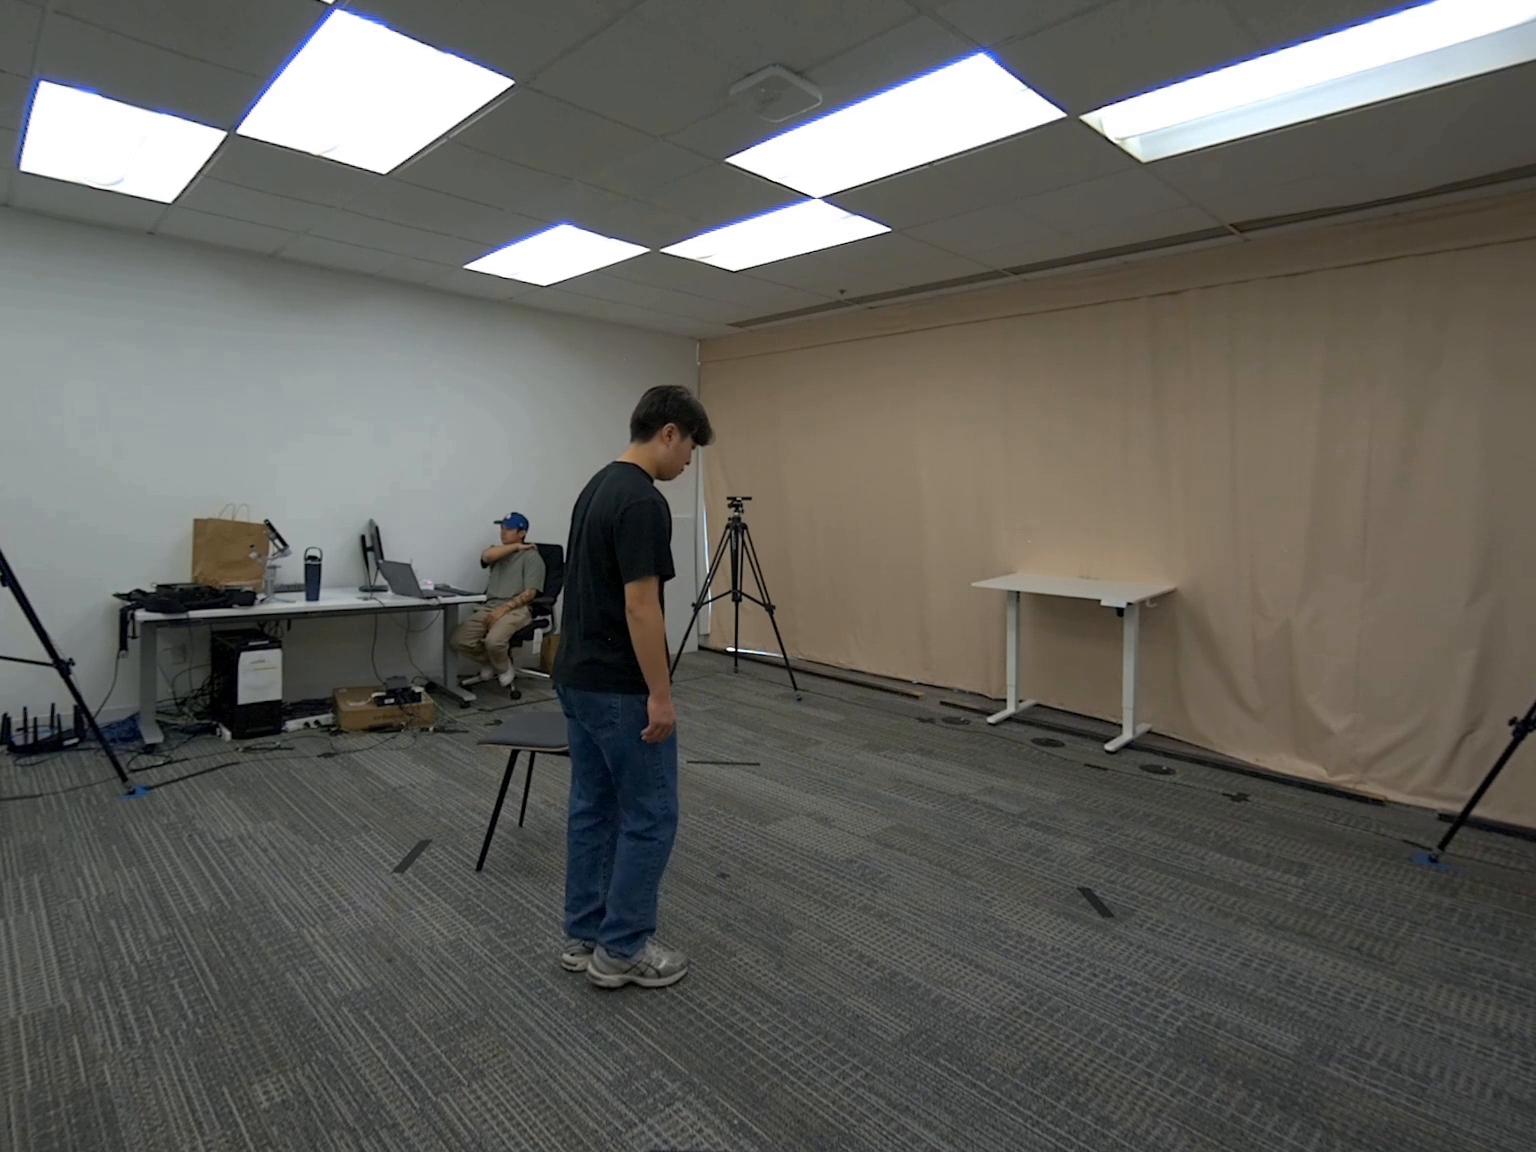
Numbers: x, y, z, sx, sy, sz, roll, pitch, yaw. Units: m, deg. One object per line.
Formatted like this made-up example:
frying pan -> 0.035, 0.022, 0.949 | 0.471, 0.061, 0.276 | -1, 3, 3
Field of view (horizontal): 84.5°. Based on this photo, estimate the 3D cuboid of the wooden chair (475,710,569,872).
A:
wooden chair -> -0.834, 0.653, 3.250 | 0.525, 0.875, 0.478 | 6, 4, 3
